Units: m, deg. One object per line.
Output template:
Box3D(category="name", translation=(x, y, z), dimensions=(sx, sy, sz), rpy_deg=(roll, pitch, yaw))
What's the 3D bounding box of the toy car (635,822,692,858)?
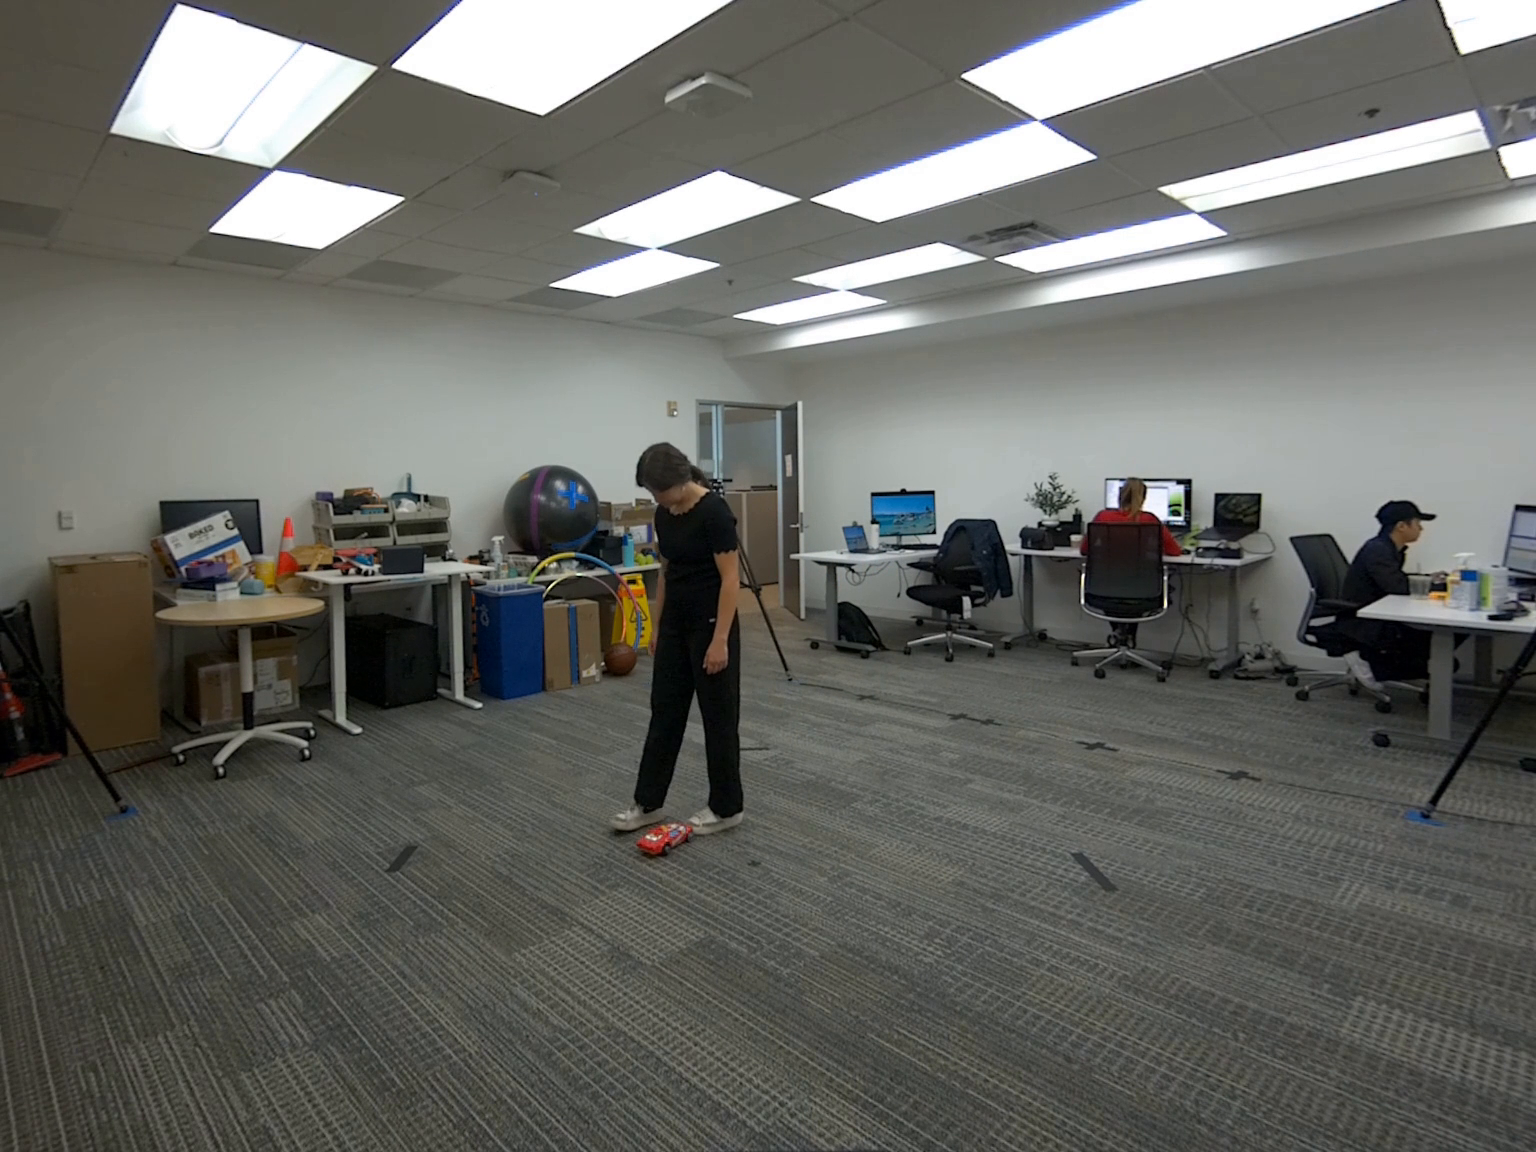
Box3D(category="toy car", translation=(-0.398, 1.006, 3.253), dimensions=(0.134, 0.083, 0.246), rpy_deg=(3, -4, 35))
